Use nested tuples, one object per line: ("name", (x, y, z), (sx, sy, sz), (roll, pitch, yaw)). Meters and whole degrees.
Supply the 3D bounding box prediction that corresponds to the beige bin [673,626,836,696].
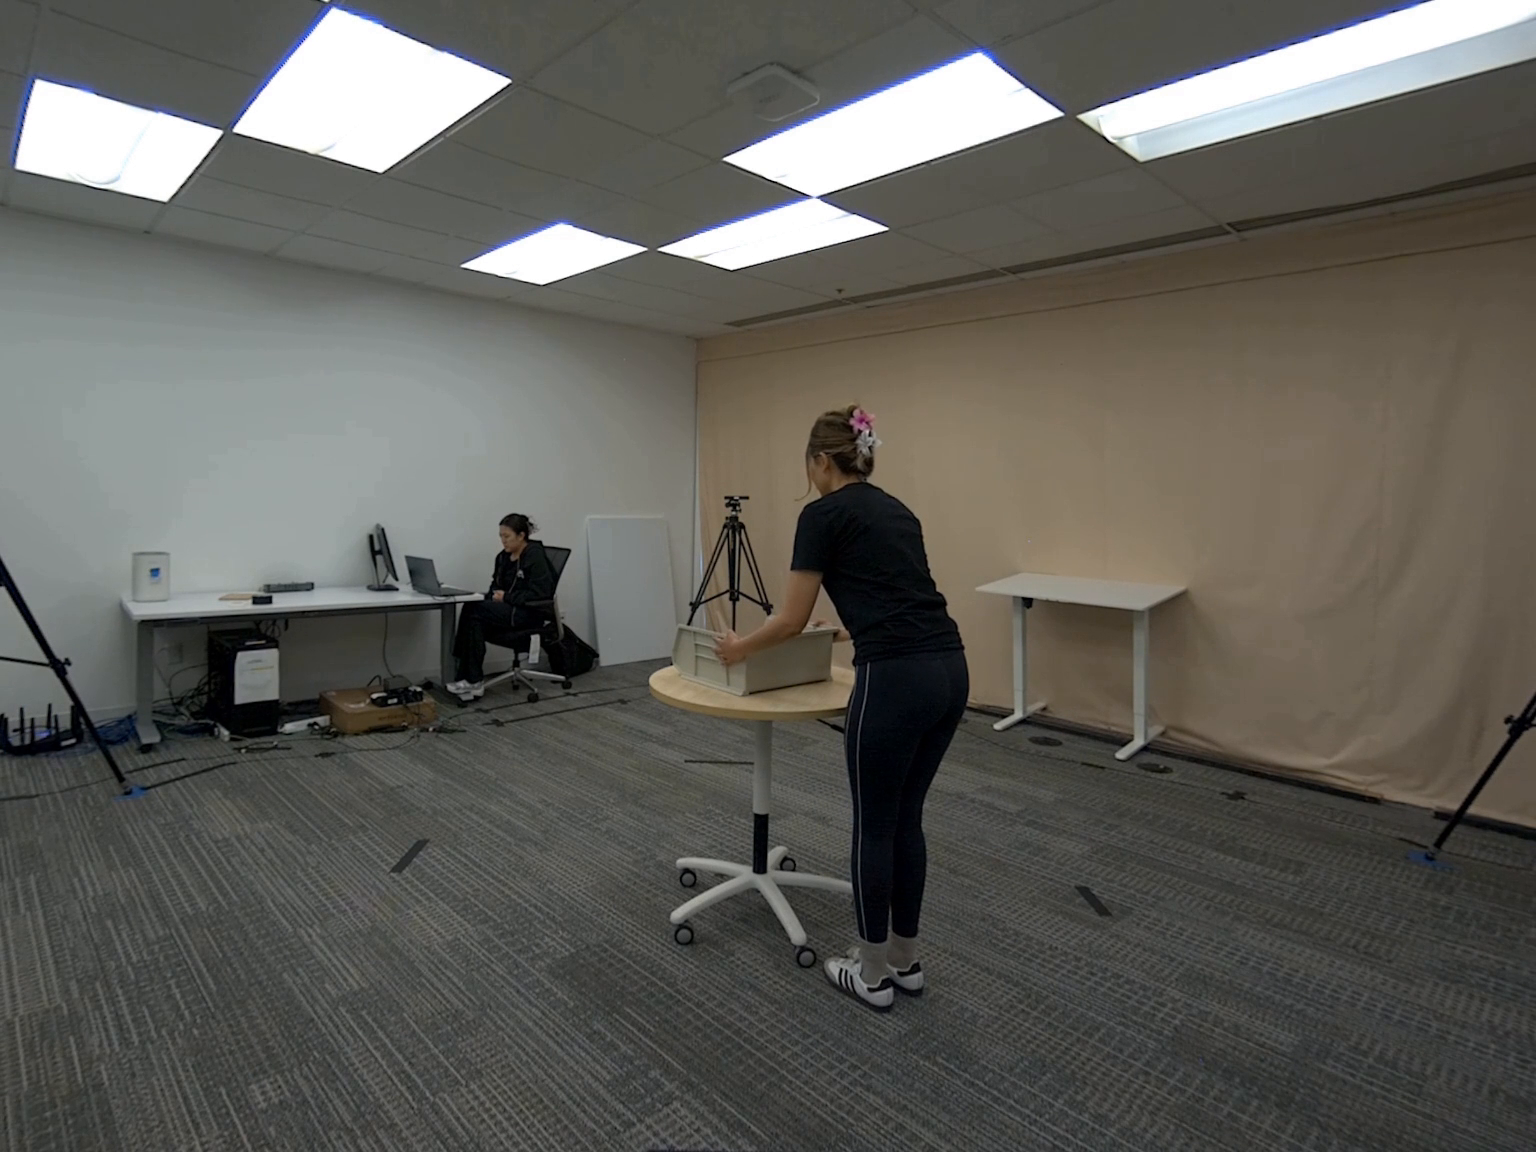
("beige bin", (-0.055, 0.256, 2.827), (0.413, 0.188, 0.387), (-3, 8, -42))
